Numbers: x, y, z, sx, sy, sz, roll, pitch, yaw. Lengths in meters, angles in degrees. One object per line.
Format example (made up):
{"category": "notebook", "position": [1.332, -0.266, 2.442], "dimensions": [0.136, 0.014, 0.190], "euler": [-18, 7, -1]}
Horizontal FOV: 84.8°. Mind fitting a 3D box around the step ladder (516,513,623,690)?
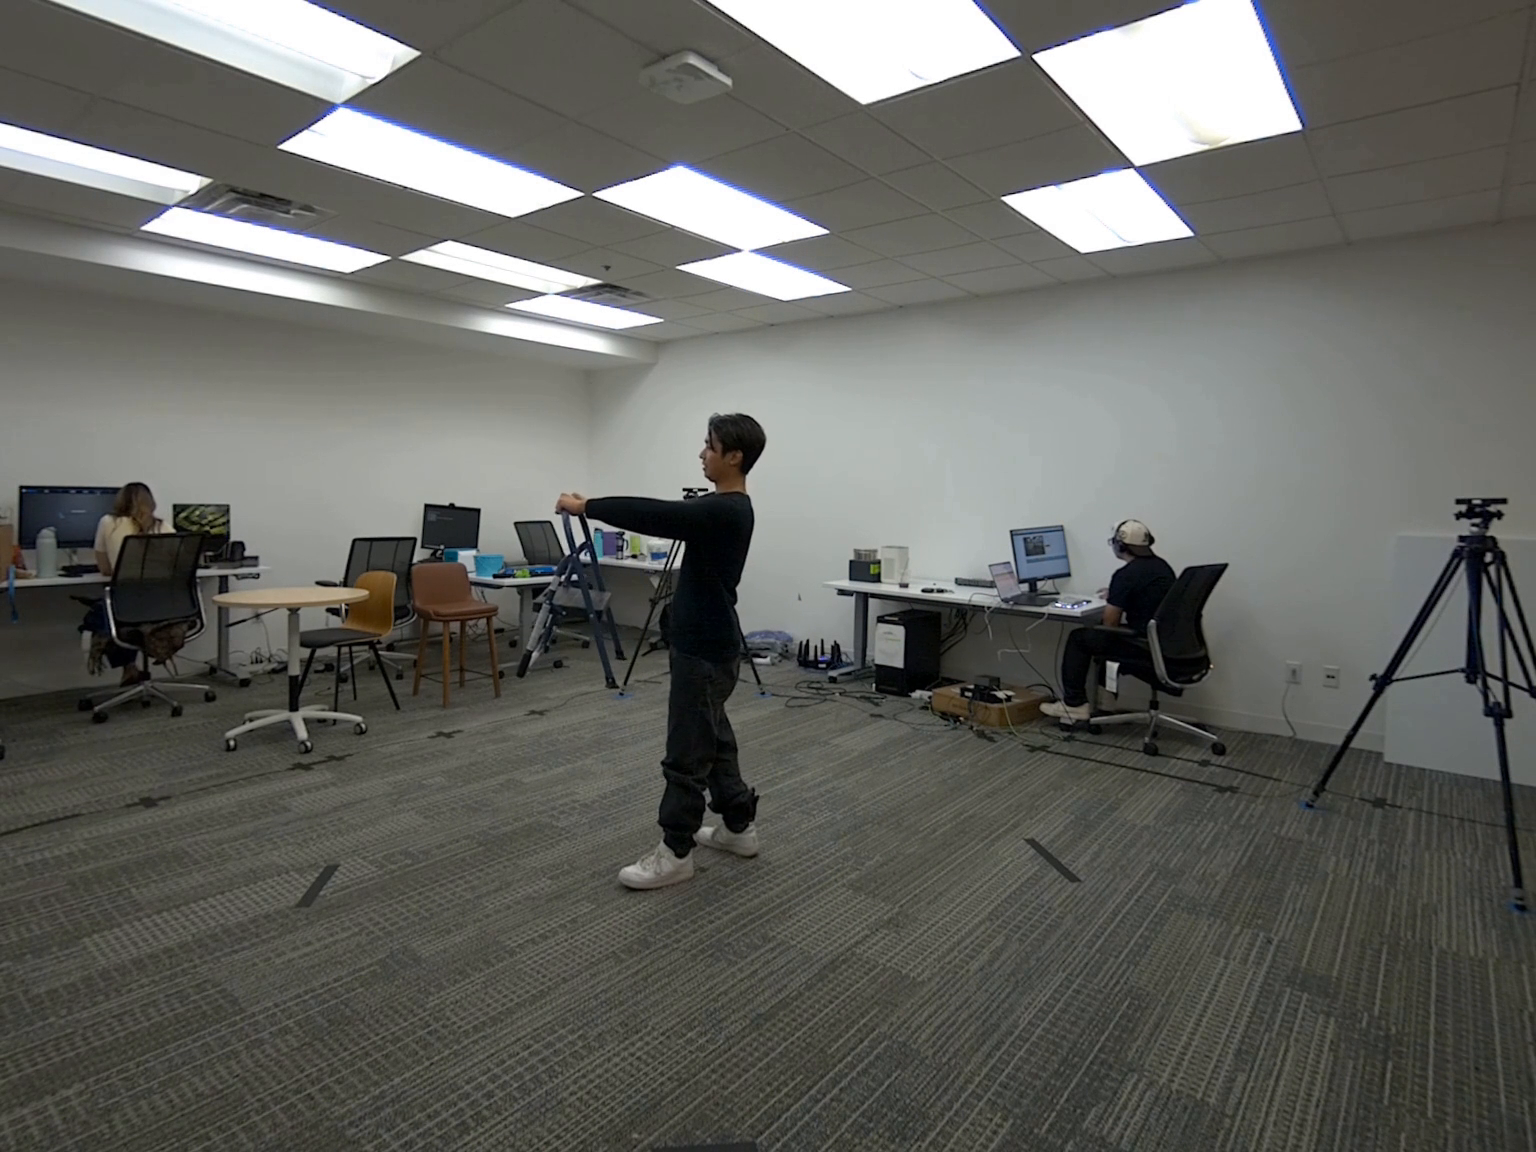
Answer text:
{"category": "step ladder", "position": [-0.680, 0.044, 3.077], "dimensions": [0.348, 0.603, 0.435], "euler": [6, 6, -5]}
